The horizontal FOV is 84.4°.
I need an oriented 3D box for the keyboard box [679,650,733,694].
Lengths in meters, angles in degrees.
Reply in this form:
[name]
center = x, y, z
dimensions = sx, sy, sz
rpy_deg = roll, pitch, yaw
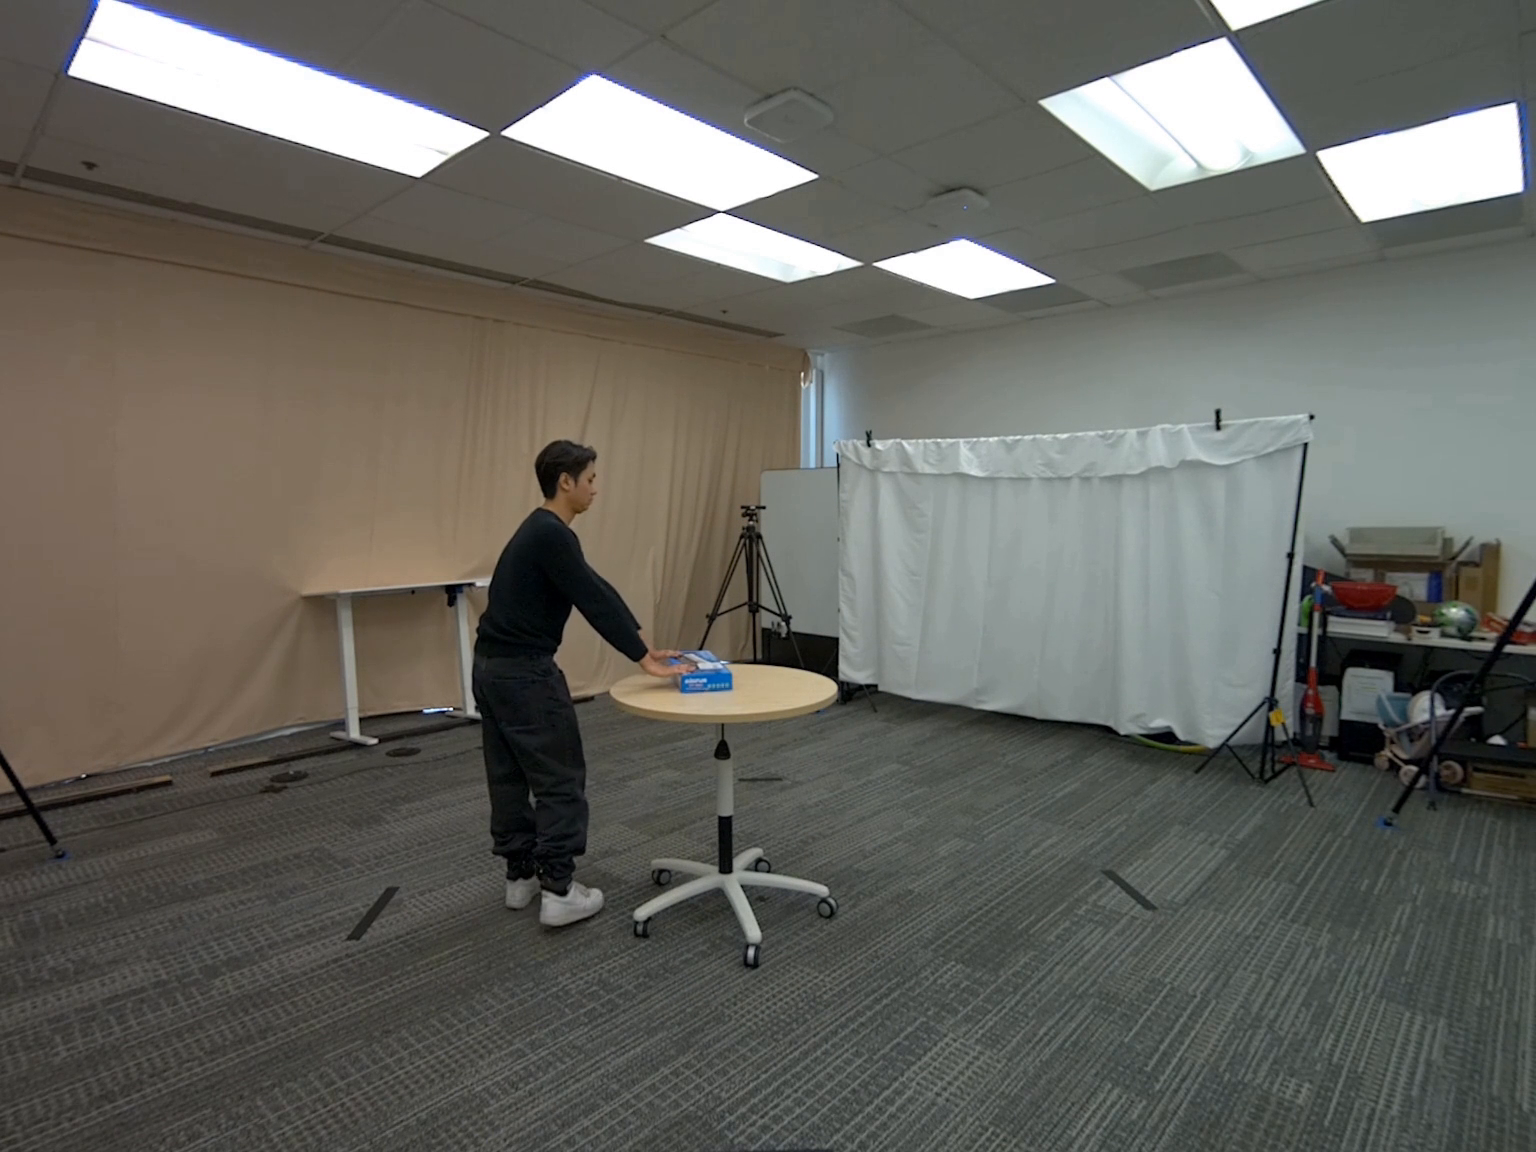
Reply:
[keyboard box]
center = -0.249, 0.334, 2.981
dimensions = 0.173, 0.059, 0.444
rpy_deg = -2, 6, -14
